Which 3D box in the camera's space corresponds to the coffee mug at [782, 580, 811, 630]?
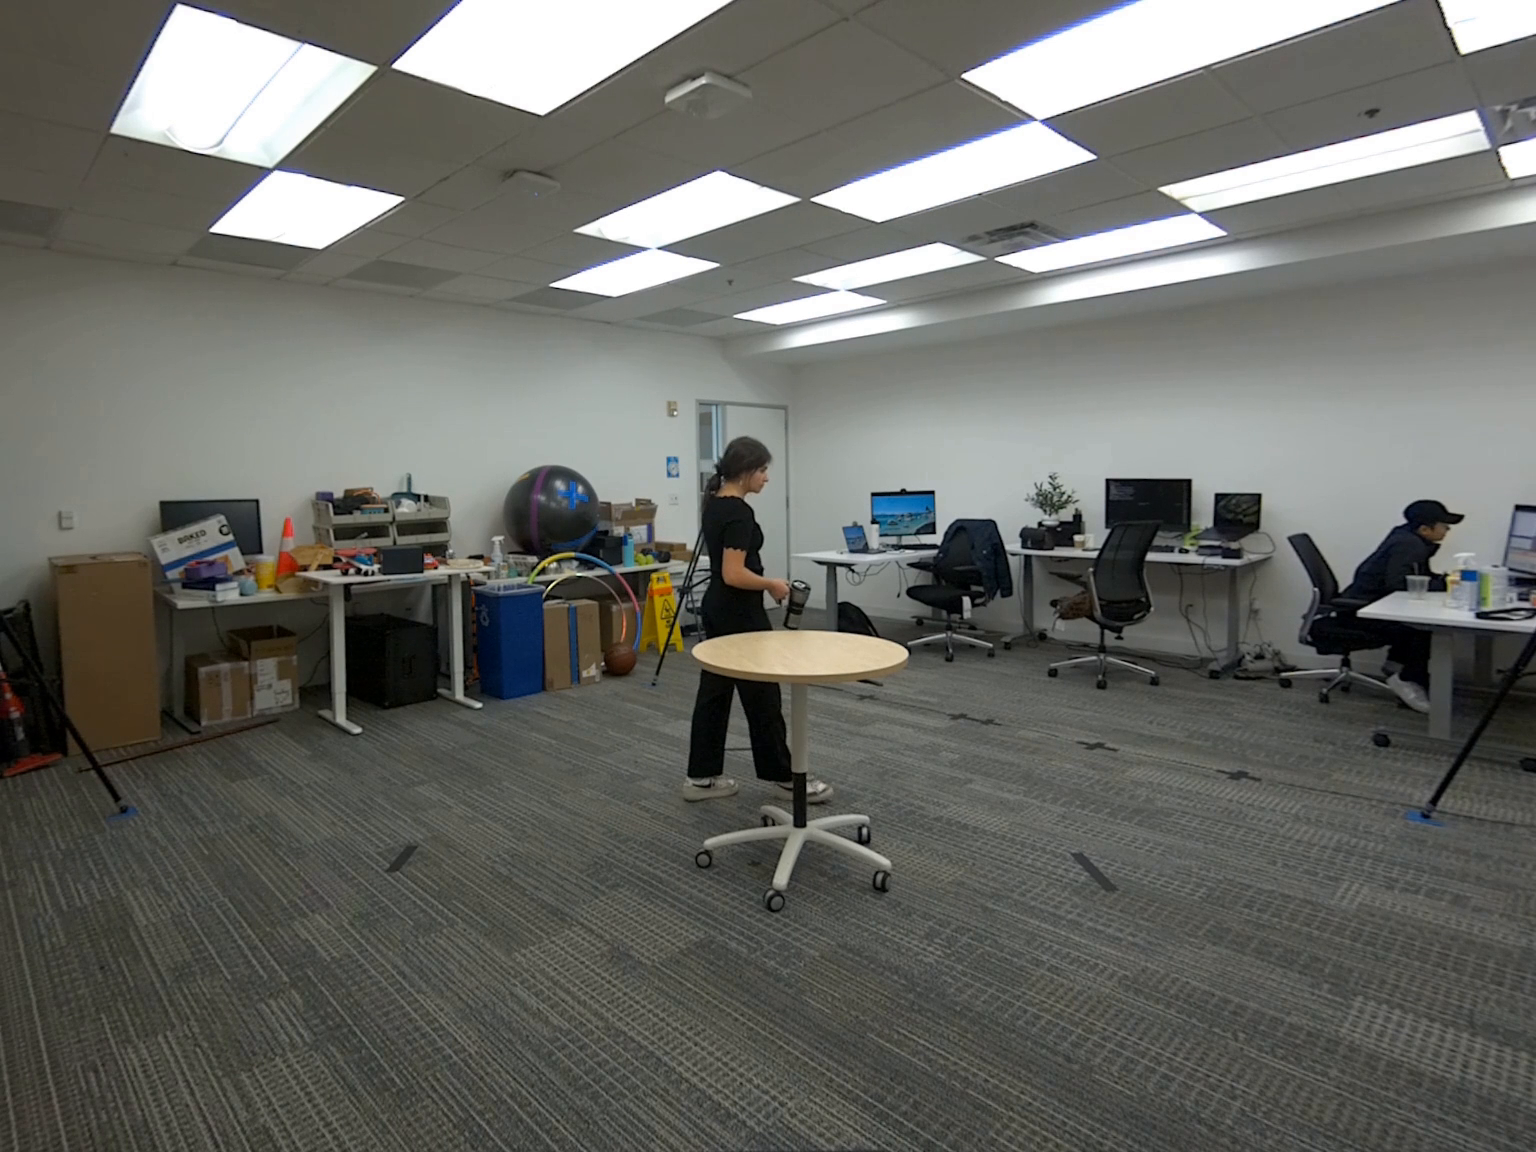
[{"bbox_3d":[0.099,0.121,3.709,0.086,0.200,0.127,-8,29,-41],"label":"coffee mug"}]
